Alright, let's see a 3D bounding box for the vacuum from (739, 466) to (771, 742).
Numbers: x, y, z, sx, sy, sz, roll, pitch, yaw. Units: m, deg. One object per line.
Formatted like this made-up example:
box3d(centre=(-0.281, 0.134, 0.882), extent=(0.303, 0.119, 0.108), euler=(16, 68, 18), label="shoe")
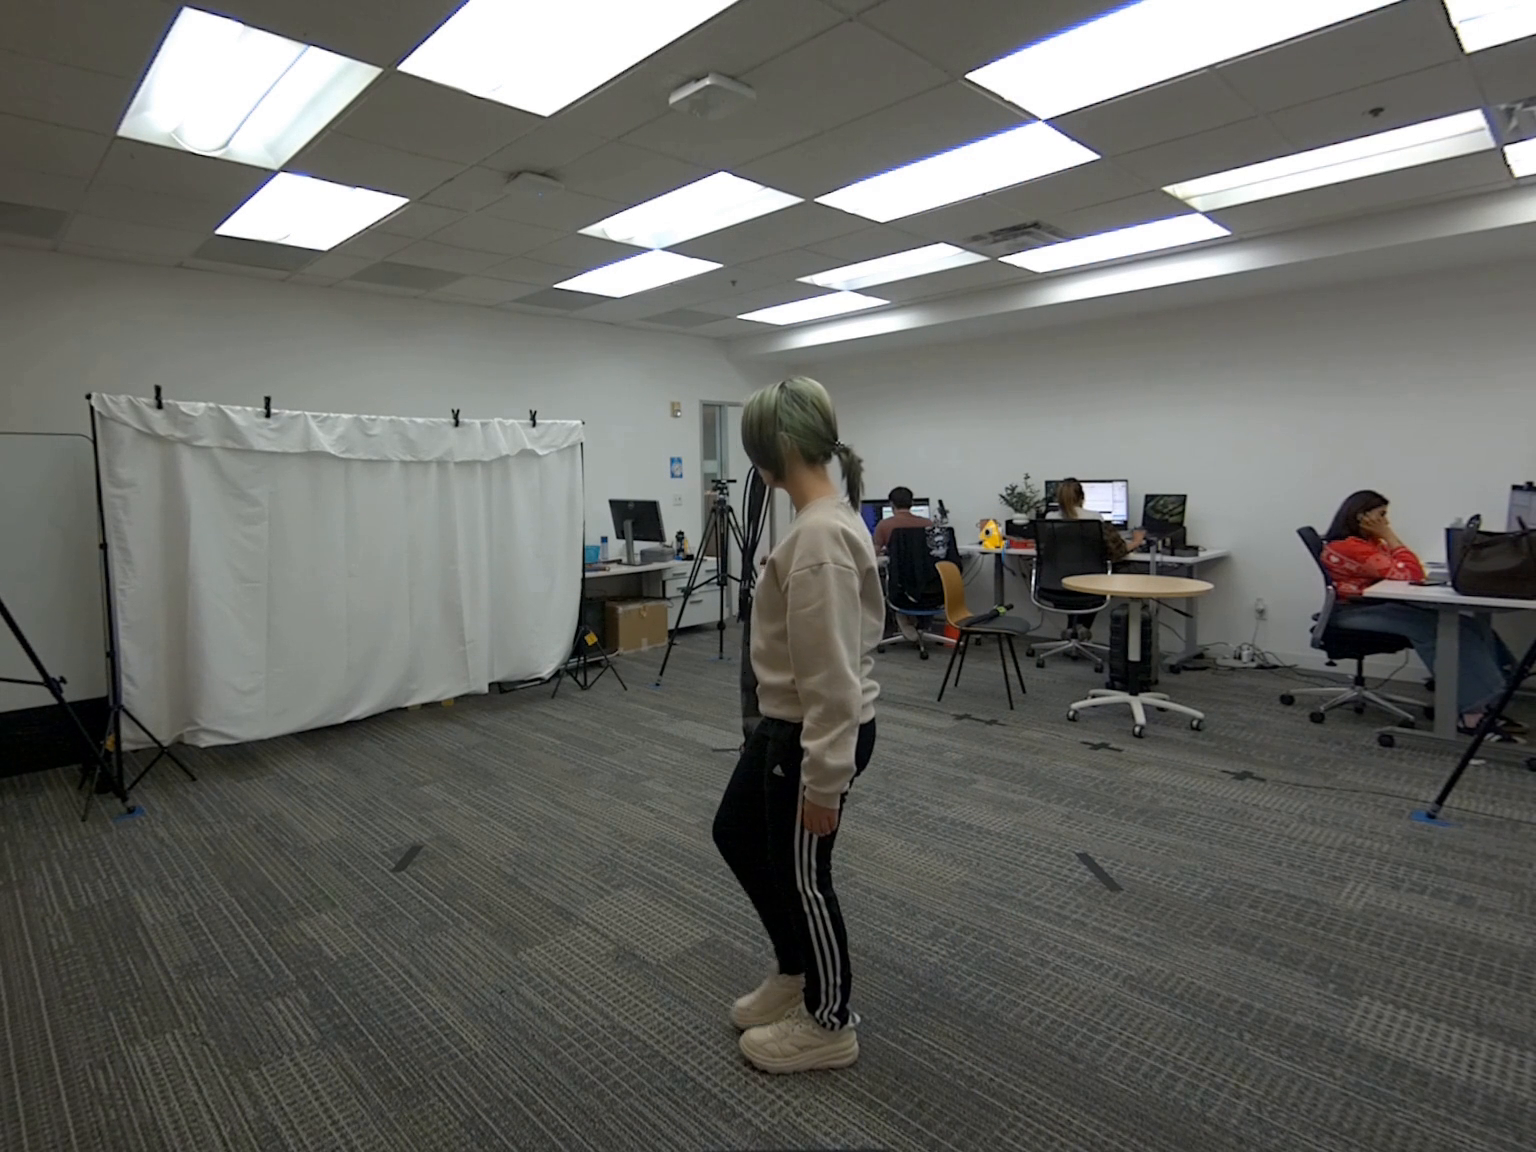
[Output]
box3d(centre=(-0.040, 0.048, 2.394), extent=(0.260, 1.042, 0.141), euler=(5, 9, 36), label="vacuum")
